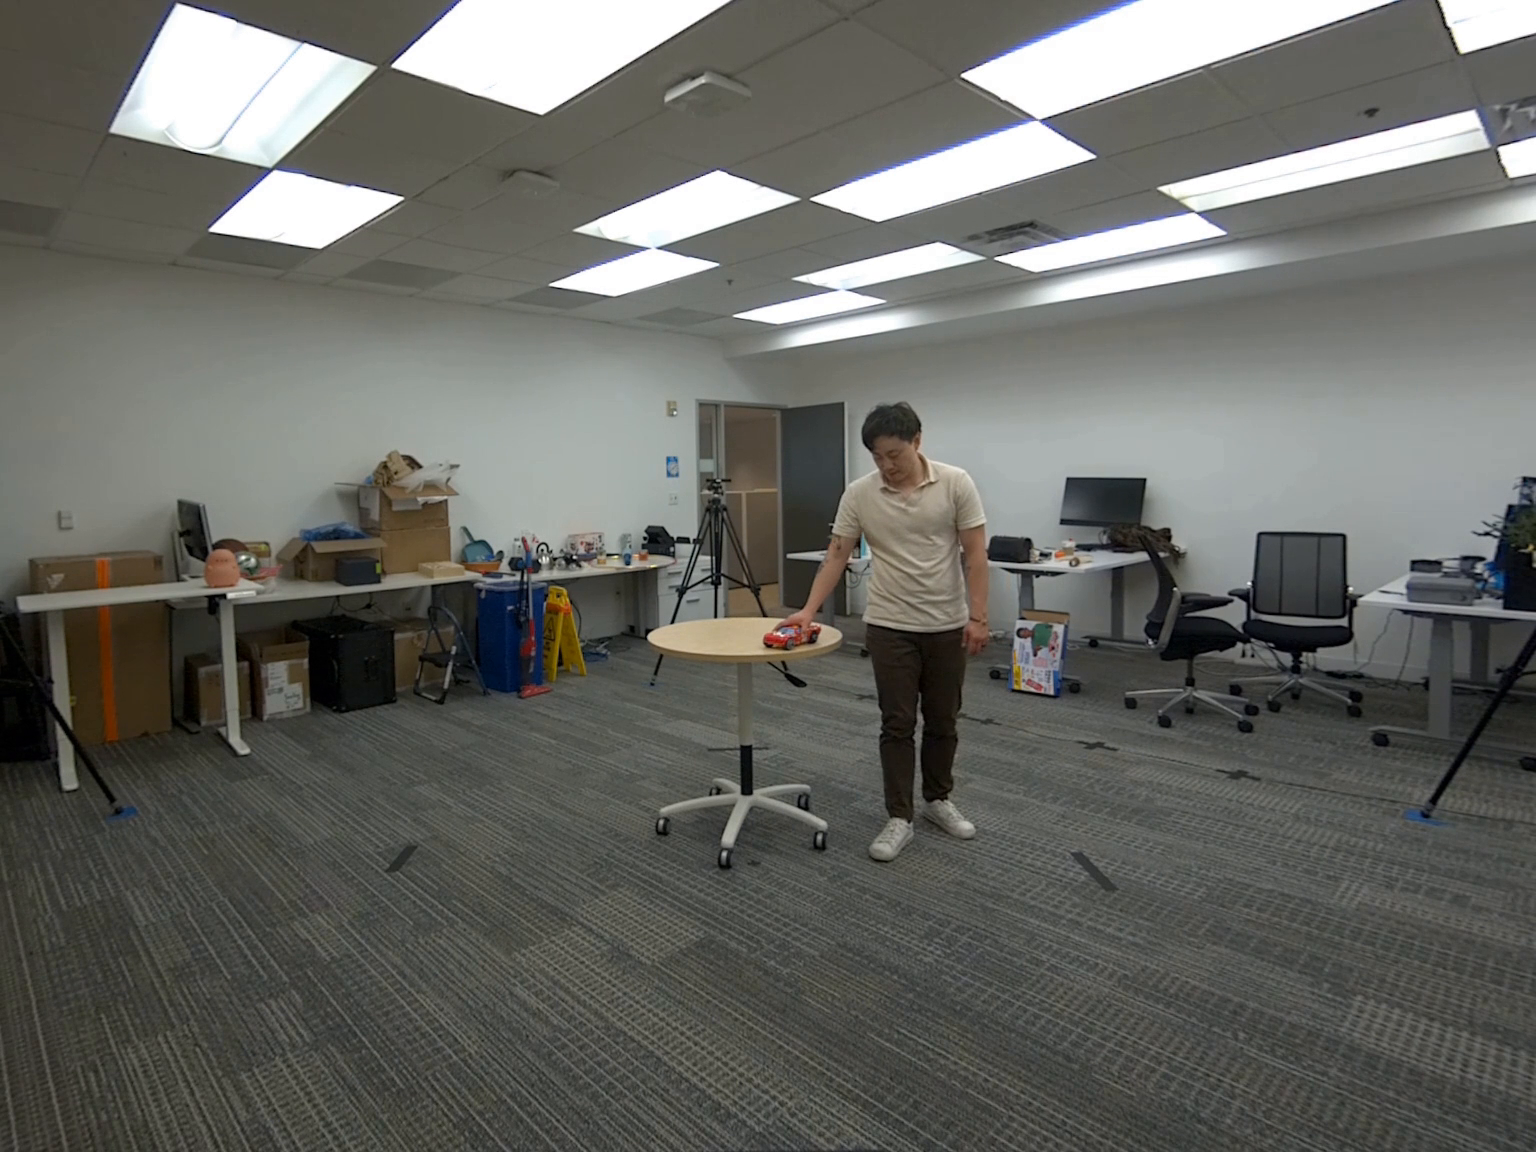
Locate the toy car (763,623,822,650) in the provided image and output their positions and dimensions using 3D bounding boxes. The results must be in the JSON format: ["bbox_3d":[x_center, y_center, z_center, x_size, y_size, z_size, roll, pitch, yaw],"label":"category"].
[{"bbox_3d":[0.102,0.223,3.168,0.134,0.082,0.250,2,18,39],"label":"toy car"}]
